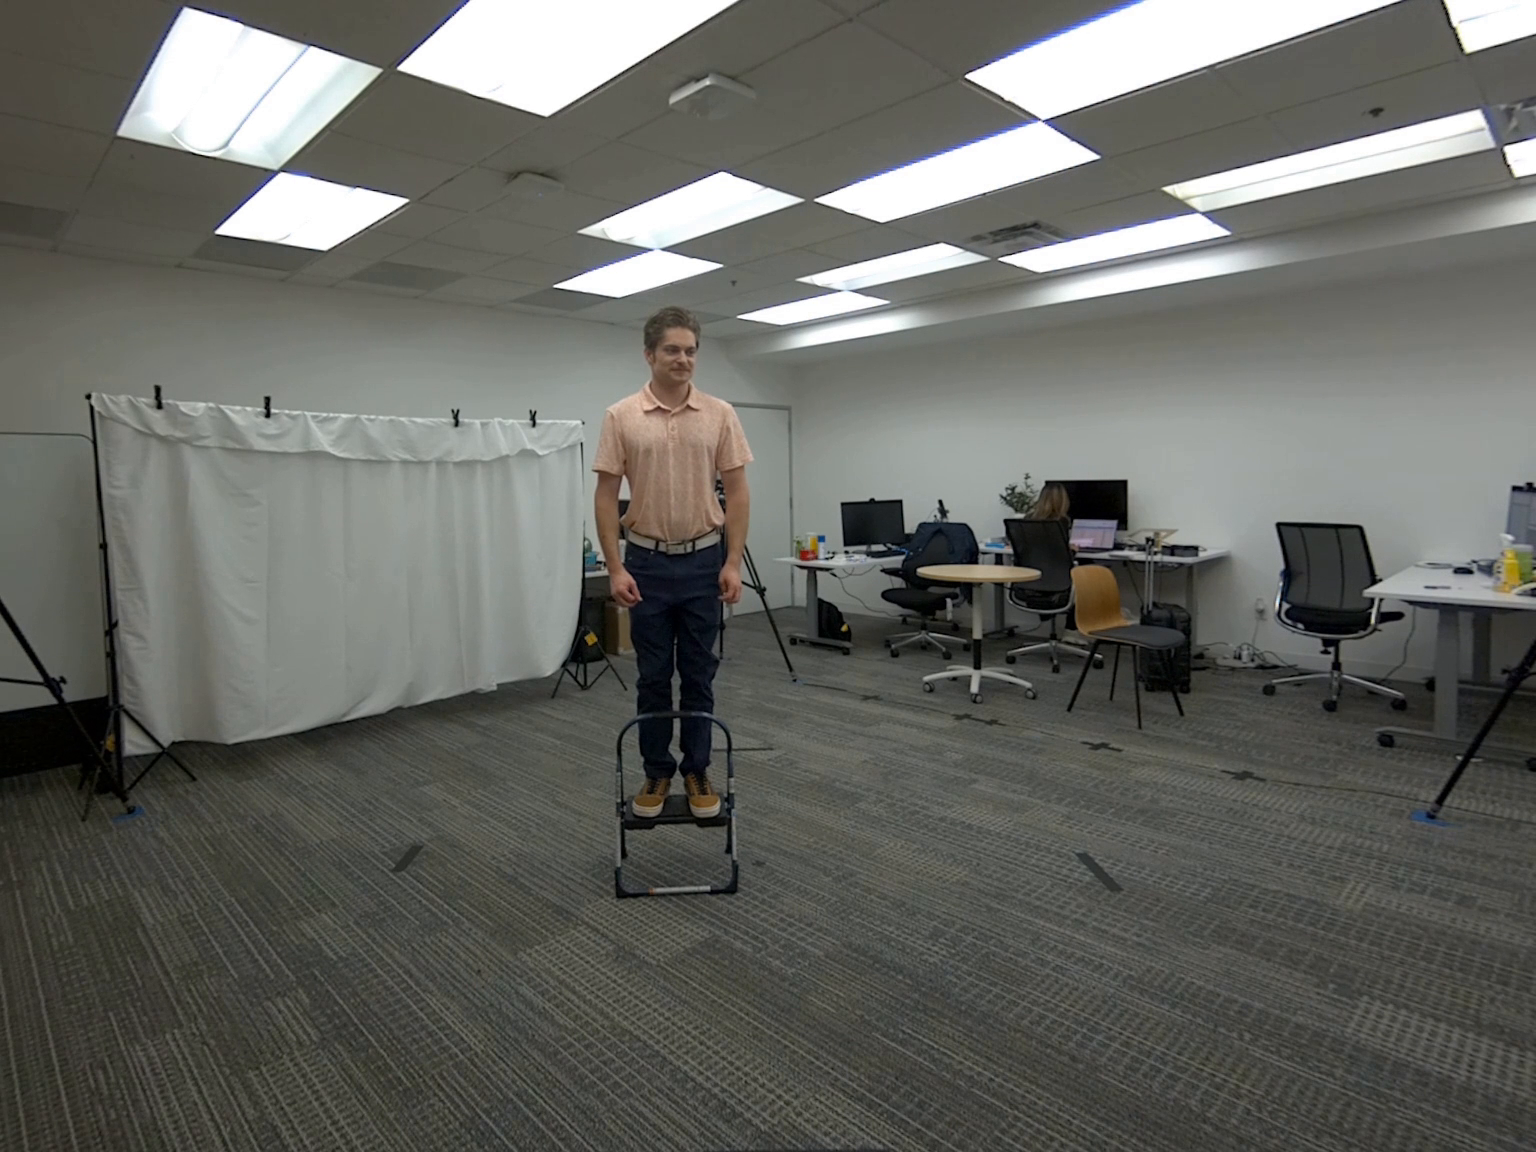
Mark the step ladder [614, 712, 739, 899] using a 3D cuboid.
[{"bbox_3d":[-0.329,0.764,3.025,0.428,0.604,0.352,-2,3,-5],"label":"step ladder"}]
